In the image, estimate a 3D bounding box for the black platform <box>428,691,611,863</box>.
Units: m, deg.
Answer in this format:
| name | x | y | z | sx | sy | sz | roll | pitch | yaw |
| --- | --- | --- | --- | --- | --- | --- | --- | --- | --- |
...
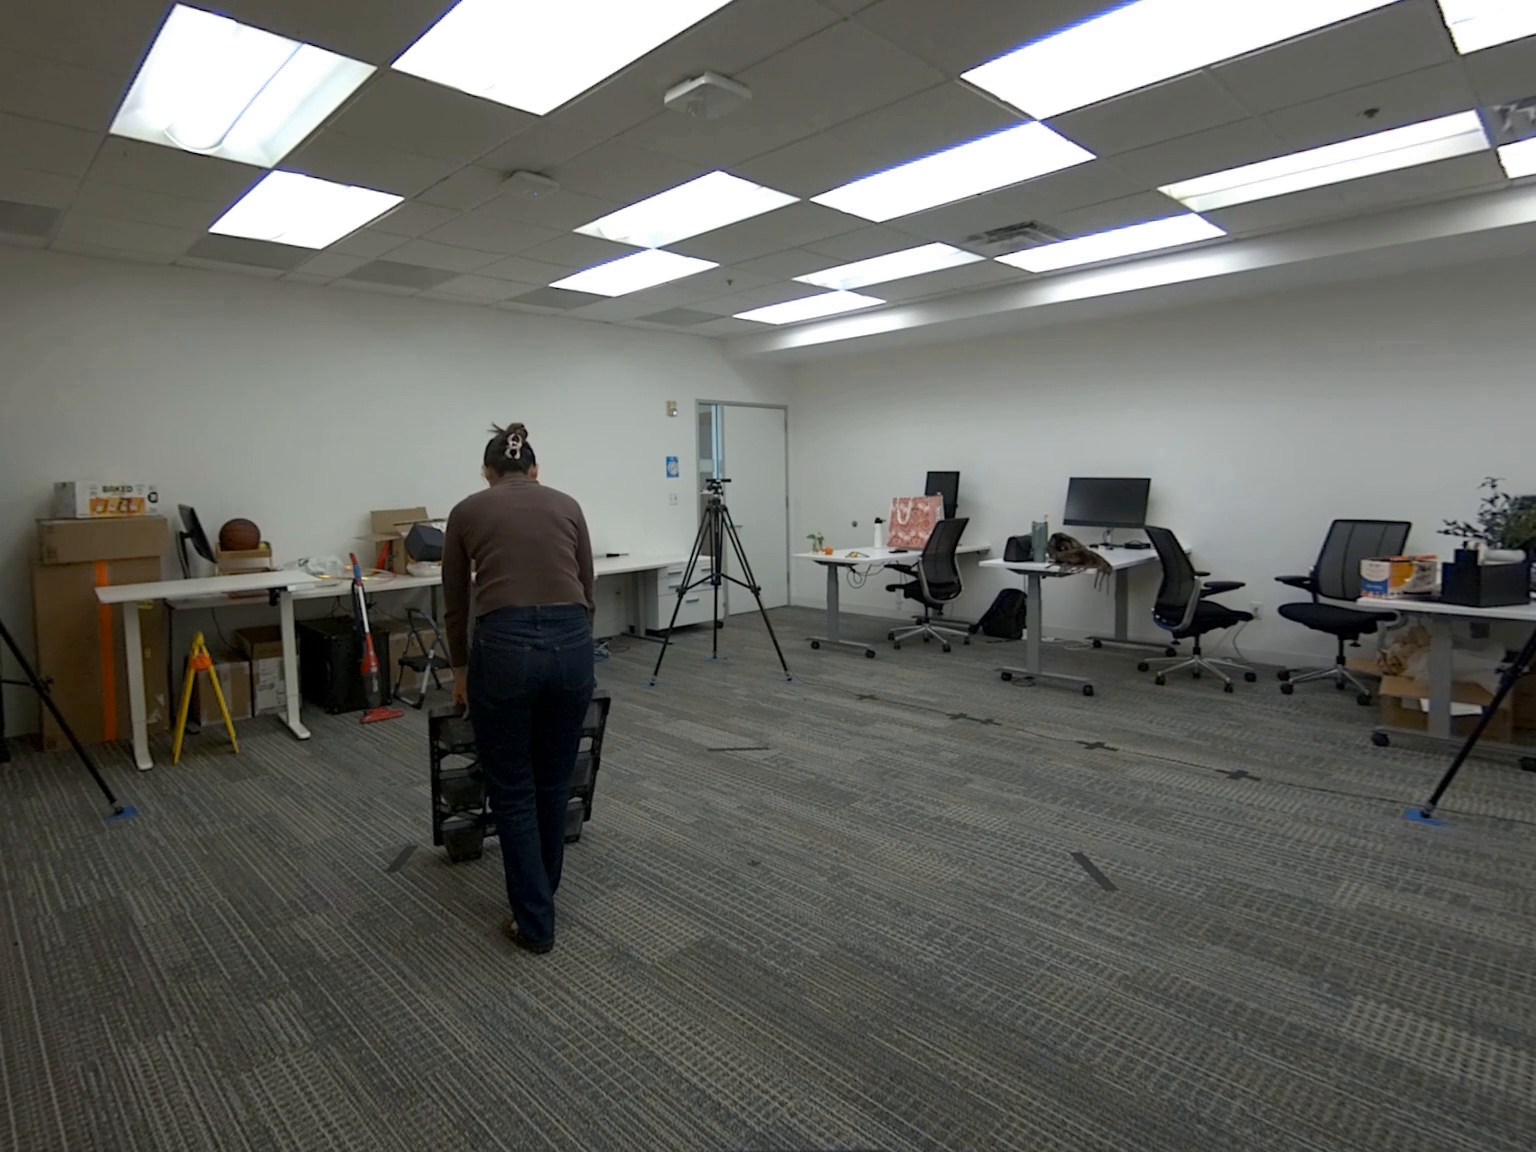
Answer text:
| name | x | y | z | sx | sy | sz | roll | pitch | yaw |
| --- | --- | --- | --- | --- | --- | --- | --- | --- | --- |
| black platform | -0.892 | 0.737 | 3.056 | 0.594 | 0.790 | 0.149 | -4 | 44 | -22 |
